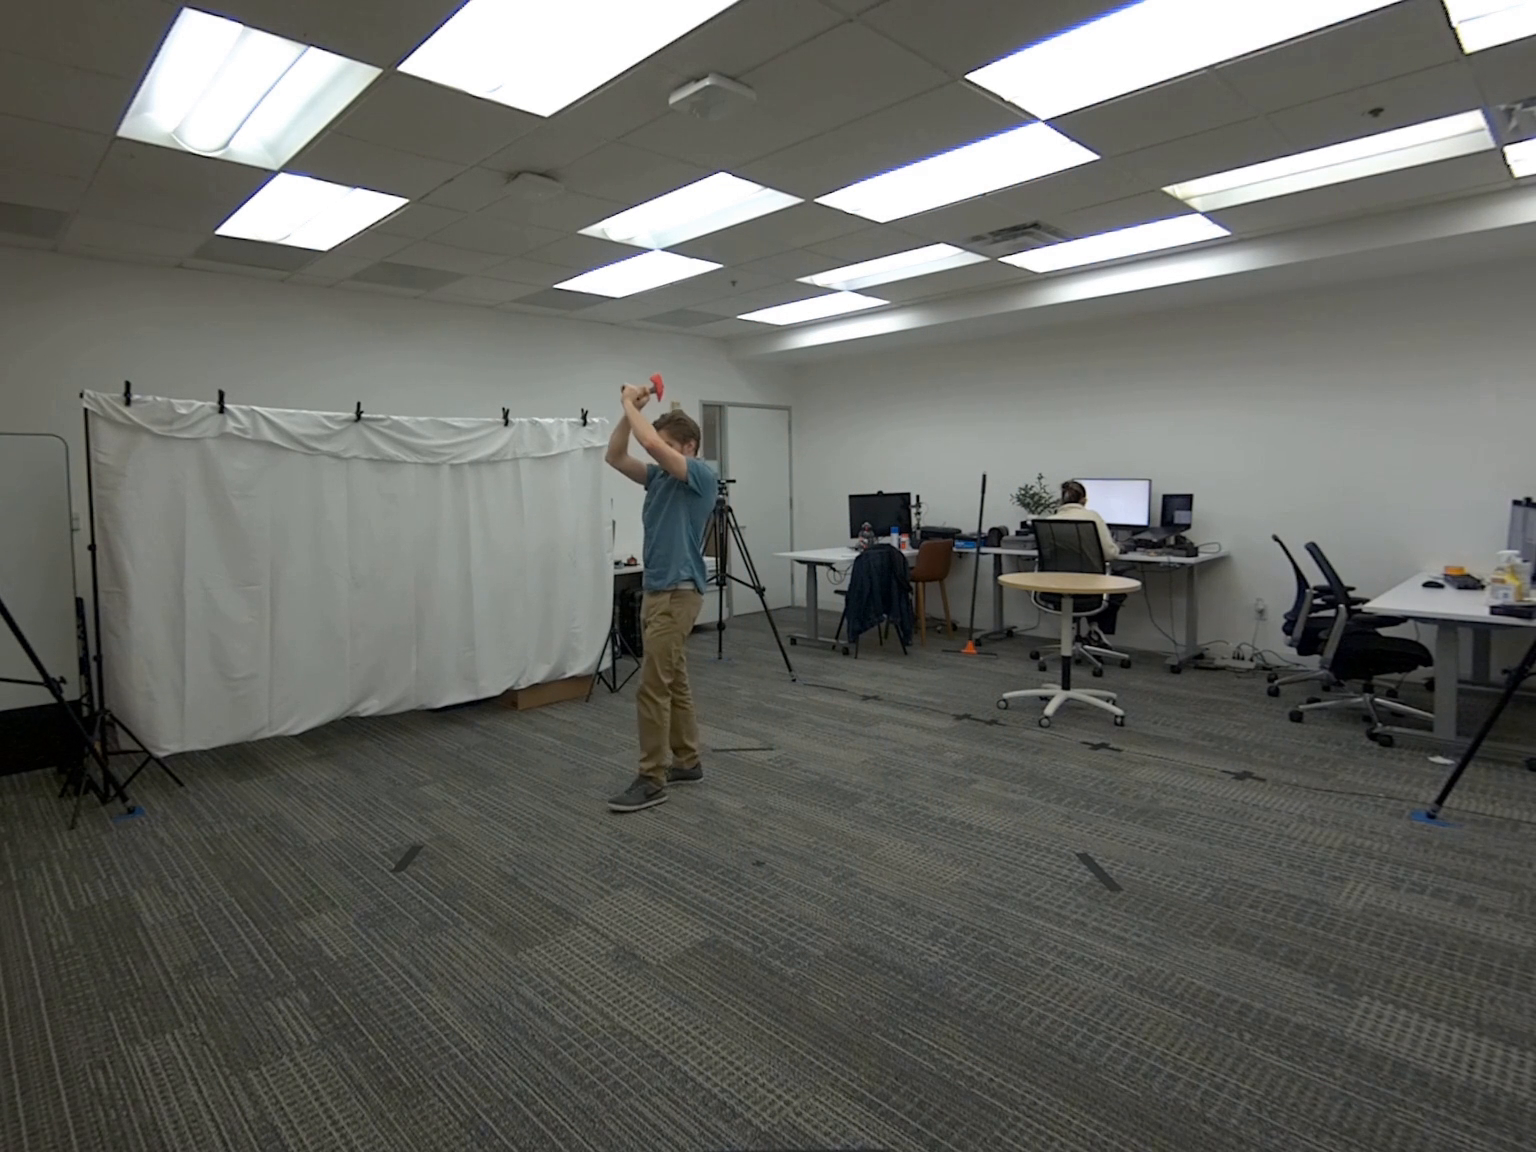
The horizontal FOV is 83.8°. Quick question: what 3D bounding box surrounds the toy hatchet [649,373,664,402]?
[{"bbox_3d":[-0.549,-0.856,3.810,0.030,0.130,0.263,15,9,31],"label":"toy hatchet"}]
